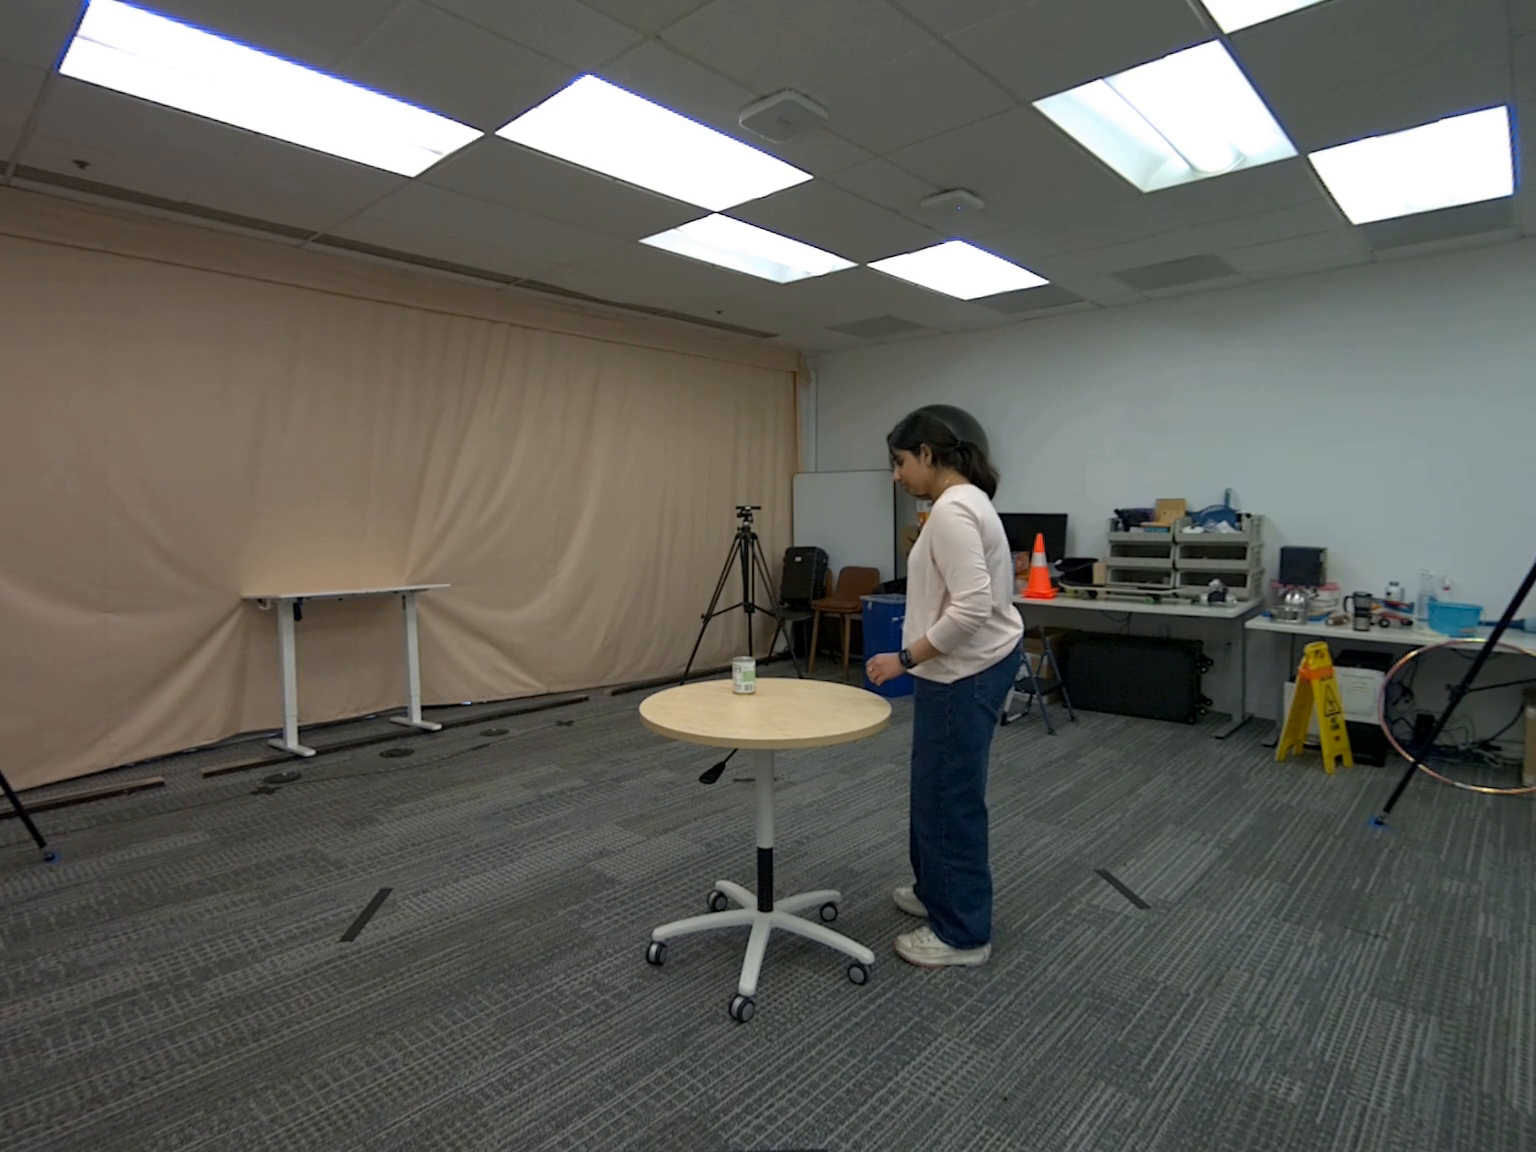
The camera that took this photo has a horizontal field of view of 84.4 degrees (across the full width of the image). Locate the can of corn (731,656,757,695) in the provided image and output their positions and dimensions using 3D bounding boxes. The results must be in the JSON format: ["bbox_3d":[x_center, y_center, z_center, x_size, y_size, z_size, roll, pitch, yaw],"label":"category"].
[{"bbox_3d":[-0.073,0.328,2.736,0.074,0.111,0.074,0,4,-2],"label":"can of corn"}]
